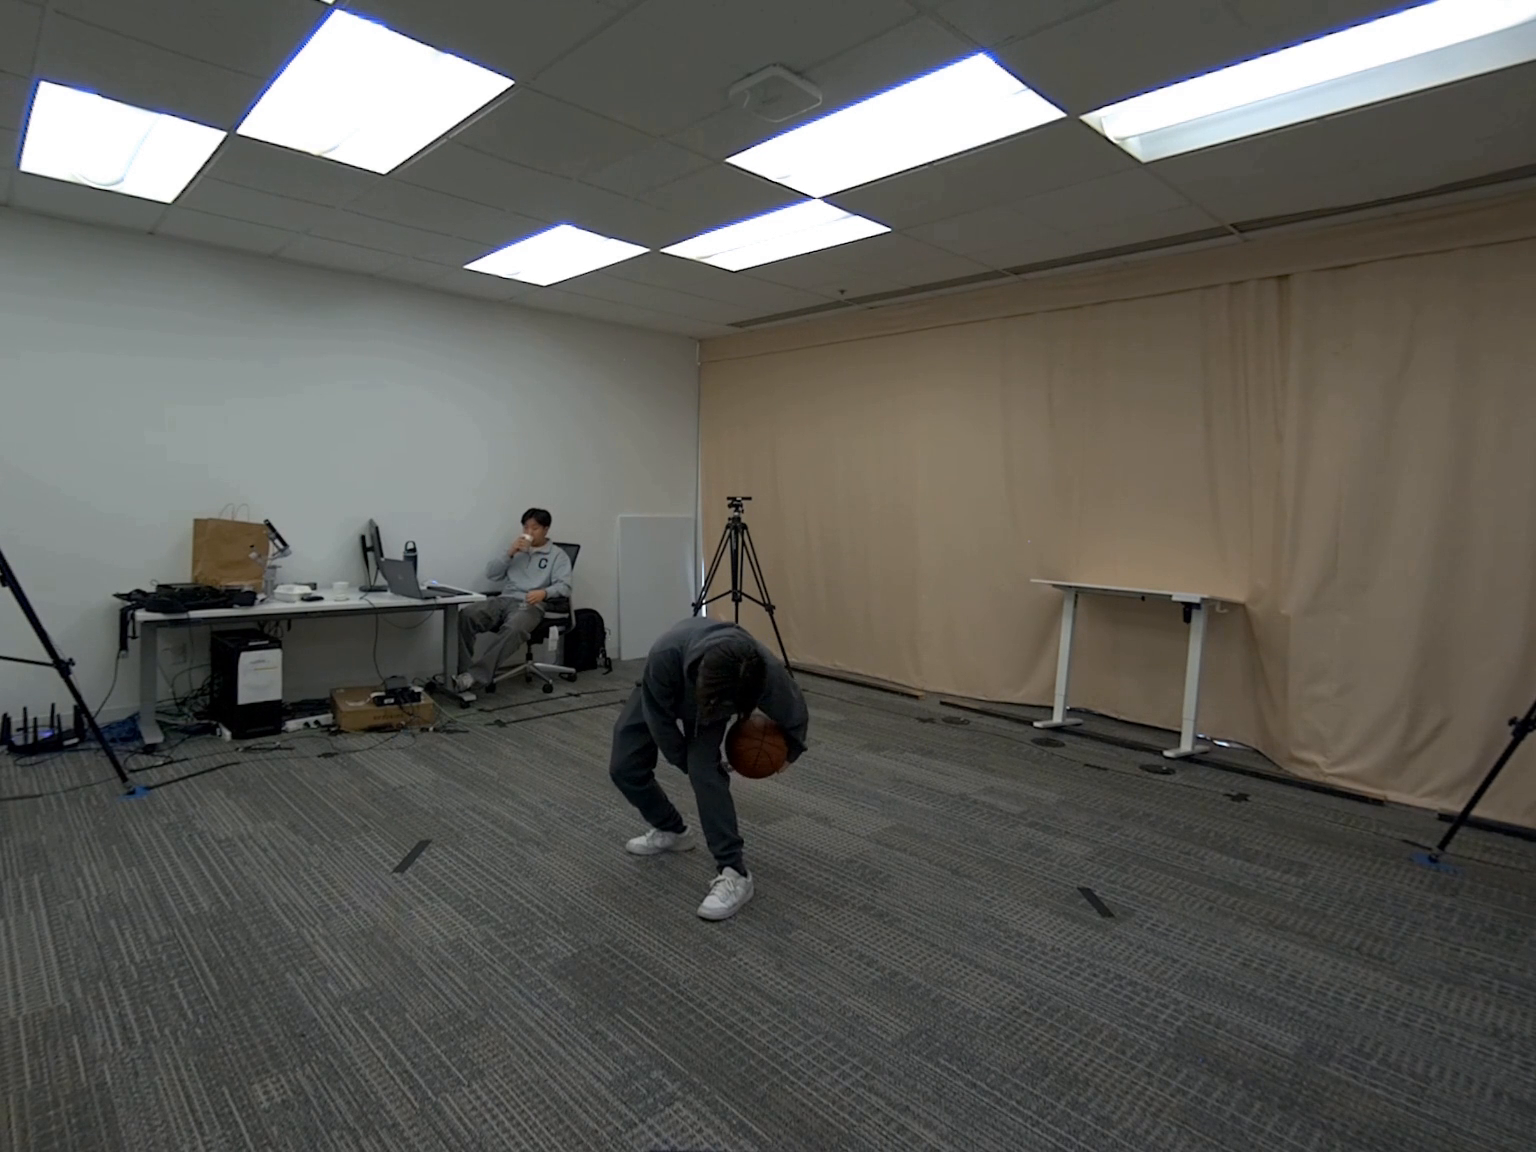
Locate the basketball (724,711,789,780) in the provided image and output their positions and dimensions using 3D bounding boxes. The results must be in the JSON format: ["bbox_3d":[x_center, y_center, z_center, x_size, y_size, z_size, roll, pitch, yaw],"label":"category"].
[{"bbox_3d":[-0.060,0.641,3.145,0.236,0.235,0.237,1,4,-1],"label":"basketball"}]
